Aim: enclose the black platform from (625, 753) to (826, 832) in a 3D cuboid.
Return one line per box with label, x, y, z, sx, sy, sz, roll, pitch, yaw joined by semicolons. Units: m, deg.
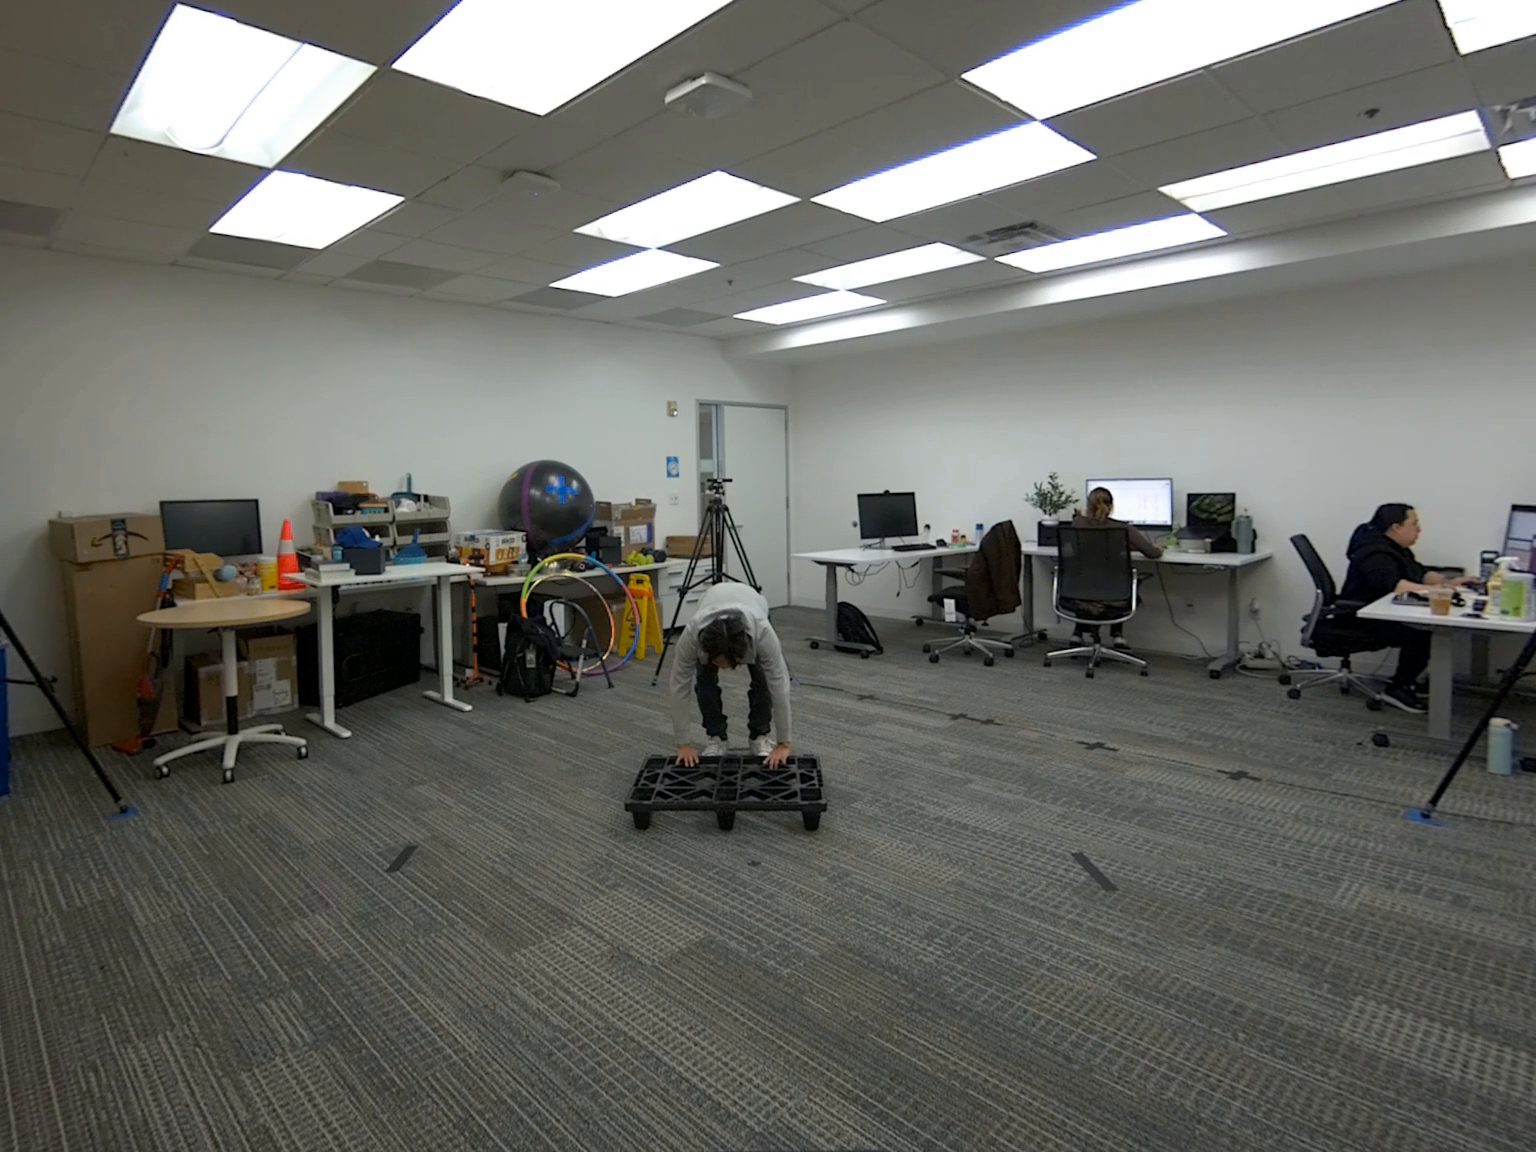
black platform;-0.161;0.919;3.634;0.808;0.142;0.606;-1;6;2
